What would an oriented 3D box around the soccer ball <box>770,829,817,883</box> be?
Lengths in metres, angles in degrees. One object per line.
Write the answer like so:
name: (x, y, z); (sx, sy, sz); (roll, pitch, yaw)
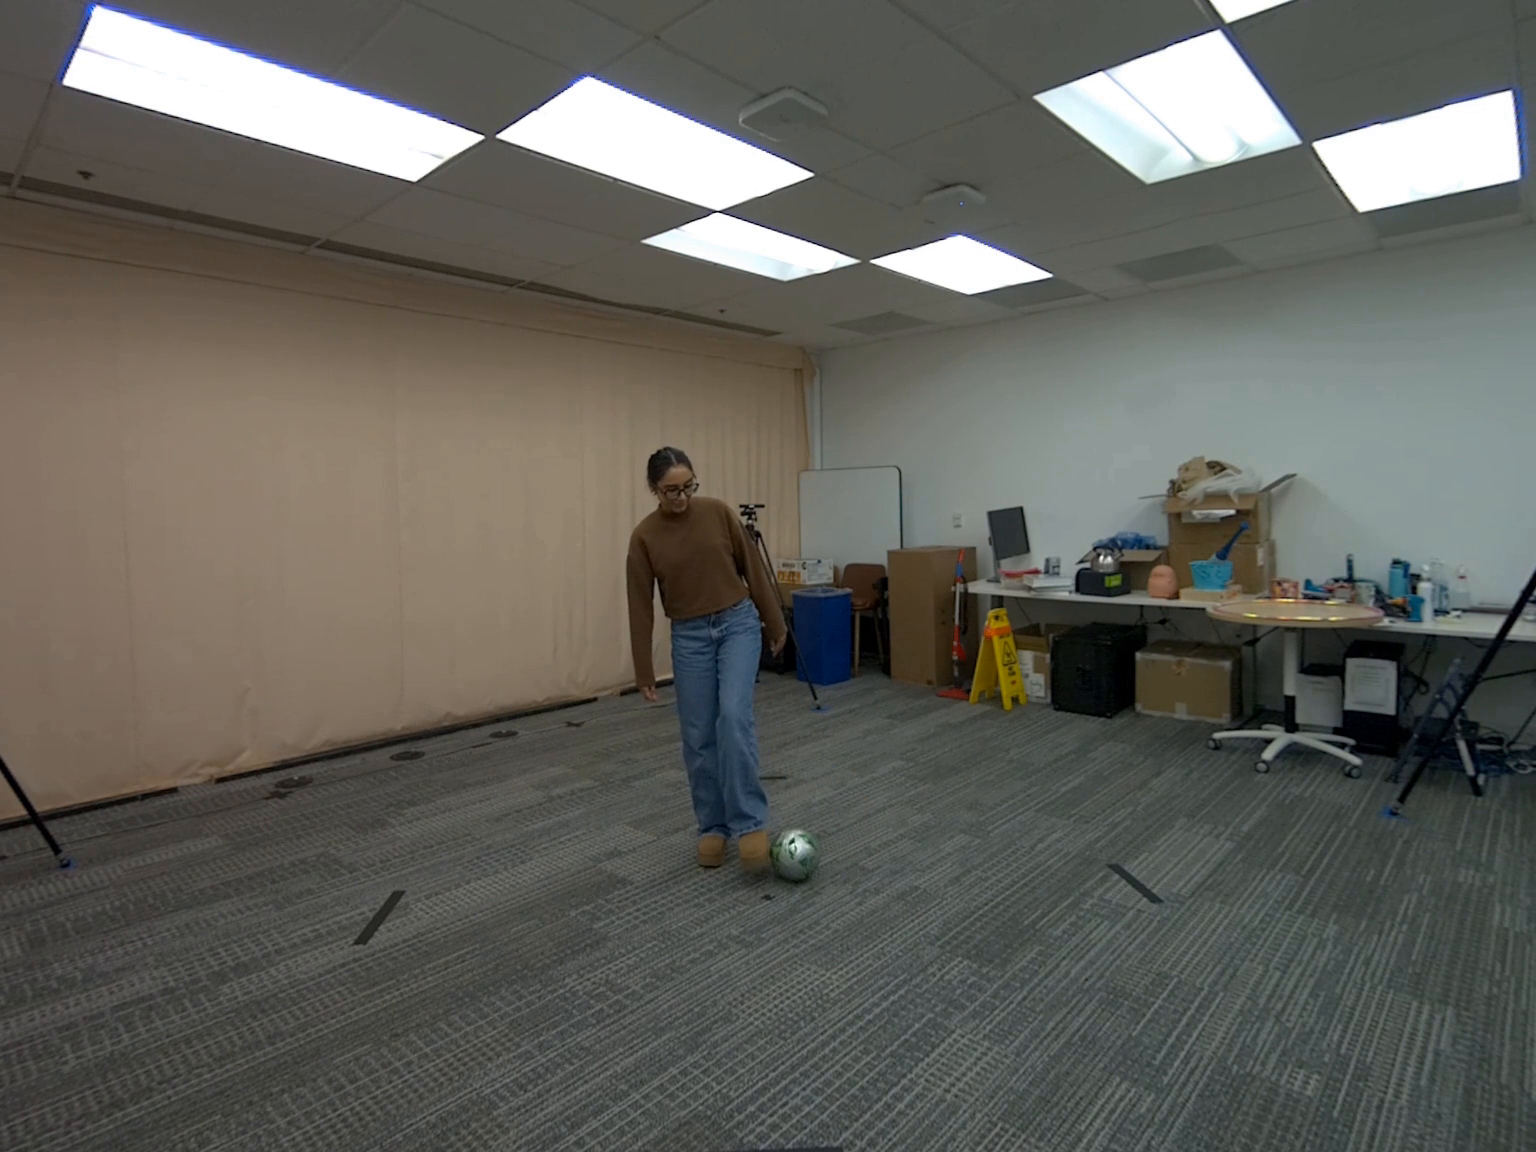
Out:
soccer ball: (0.112, 1.032, 3.115); (0.187, 0.187, 0.188); (-1, 4, -2)
